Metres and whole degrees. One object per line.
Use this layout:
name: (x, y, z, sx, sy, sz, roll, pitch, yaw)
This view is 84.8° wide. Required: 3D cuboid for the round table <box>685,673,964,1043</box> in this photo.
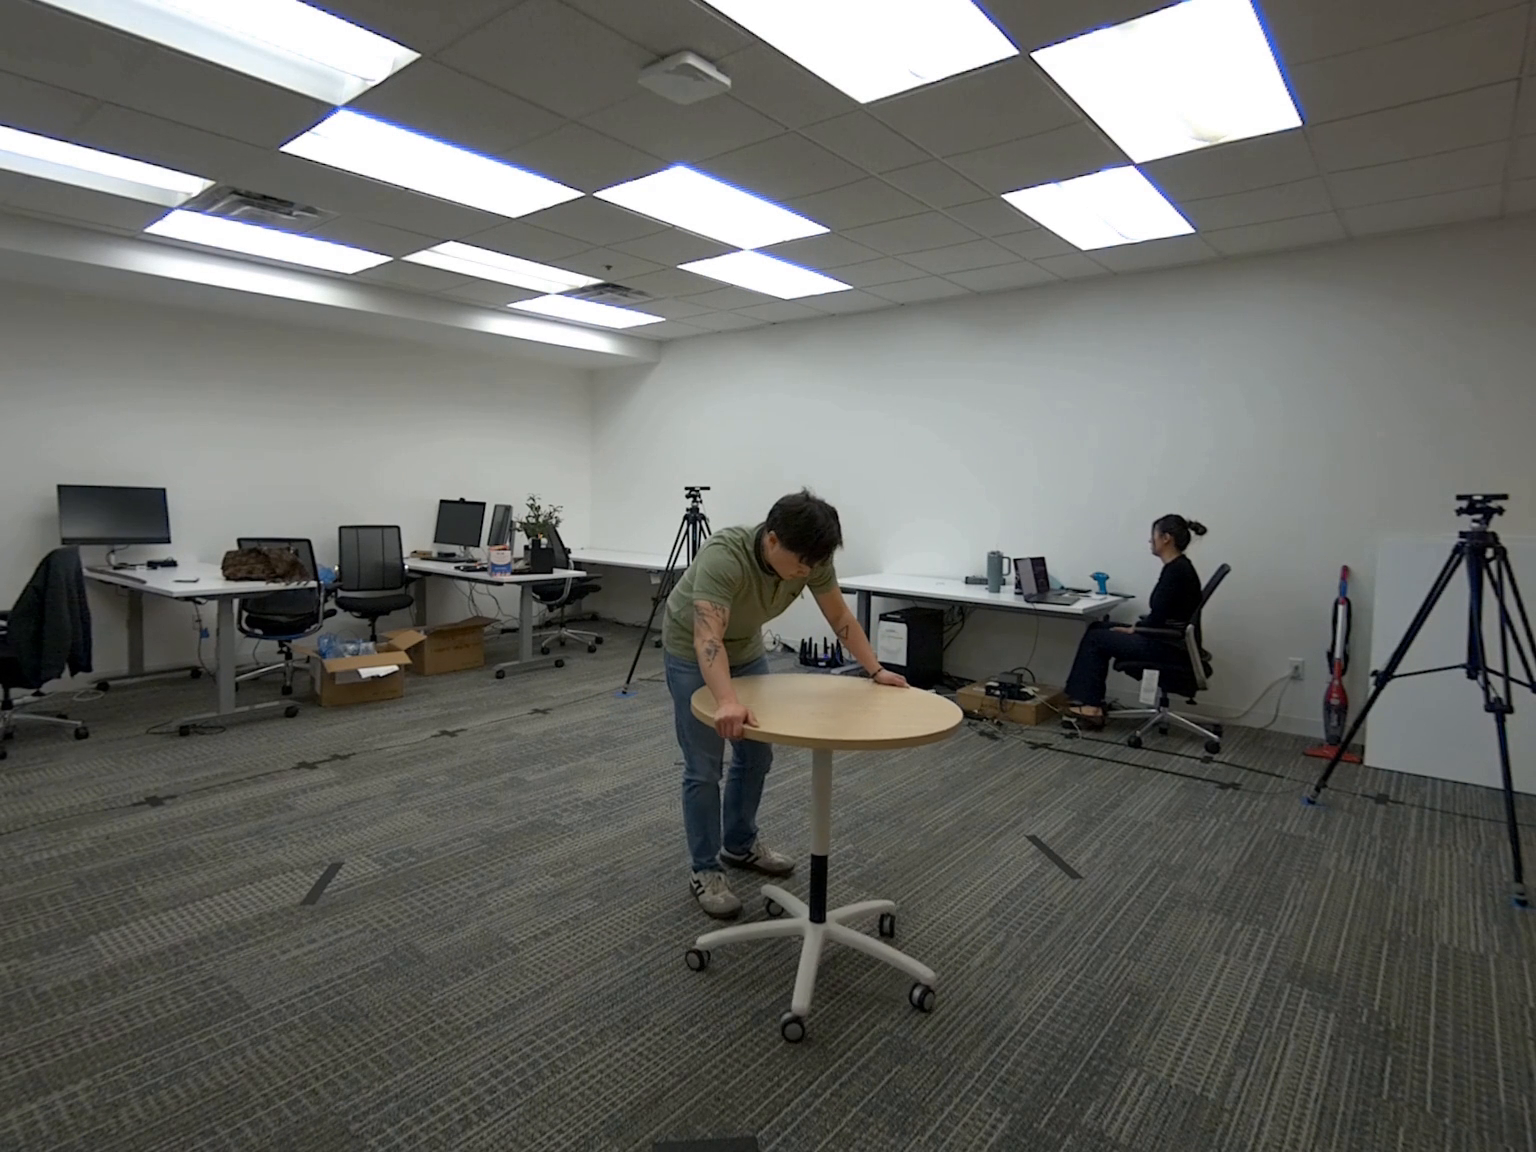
round table: (0.143, 0.748, 2.459, 0.763, 0.791, 0.768, 1, 4, -2)
